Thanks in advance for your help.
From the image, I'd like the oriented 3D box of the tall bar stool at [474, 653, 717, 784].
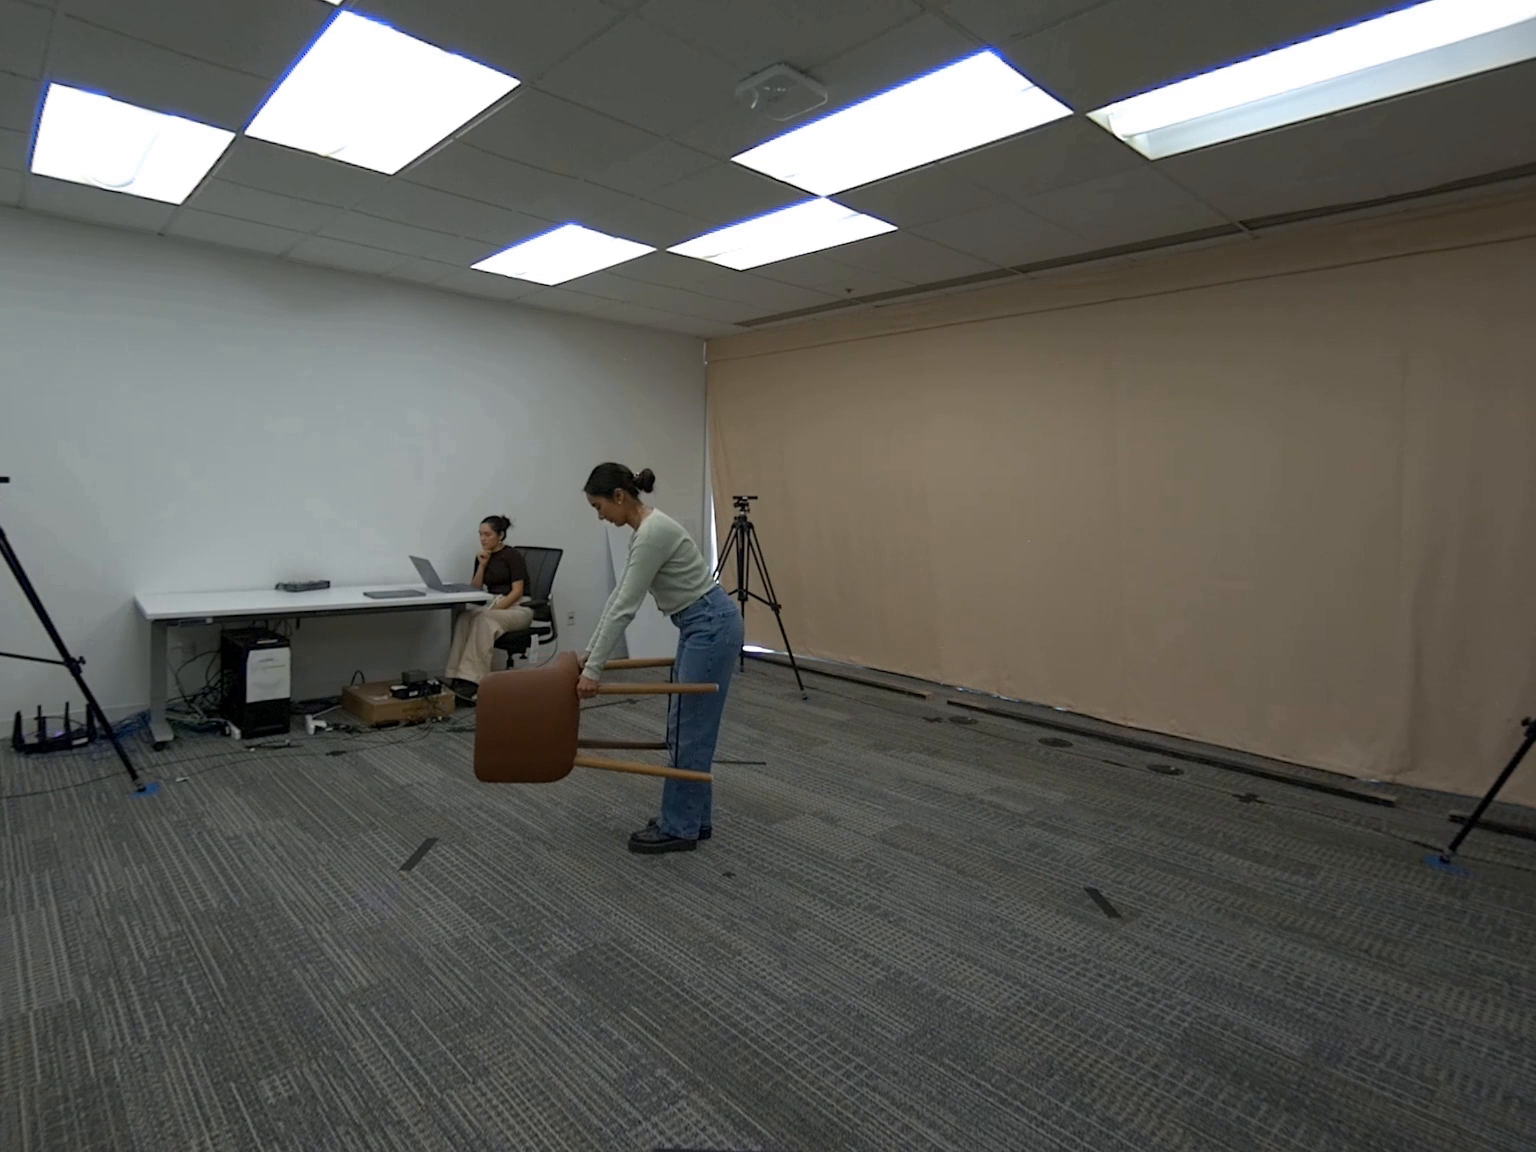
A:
[{"bbox_3d":[-0.666,0.554,3.303,0.882,0.455,0.473,2,5,-10],"label":"tall bar stool"}]
